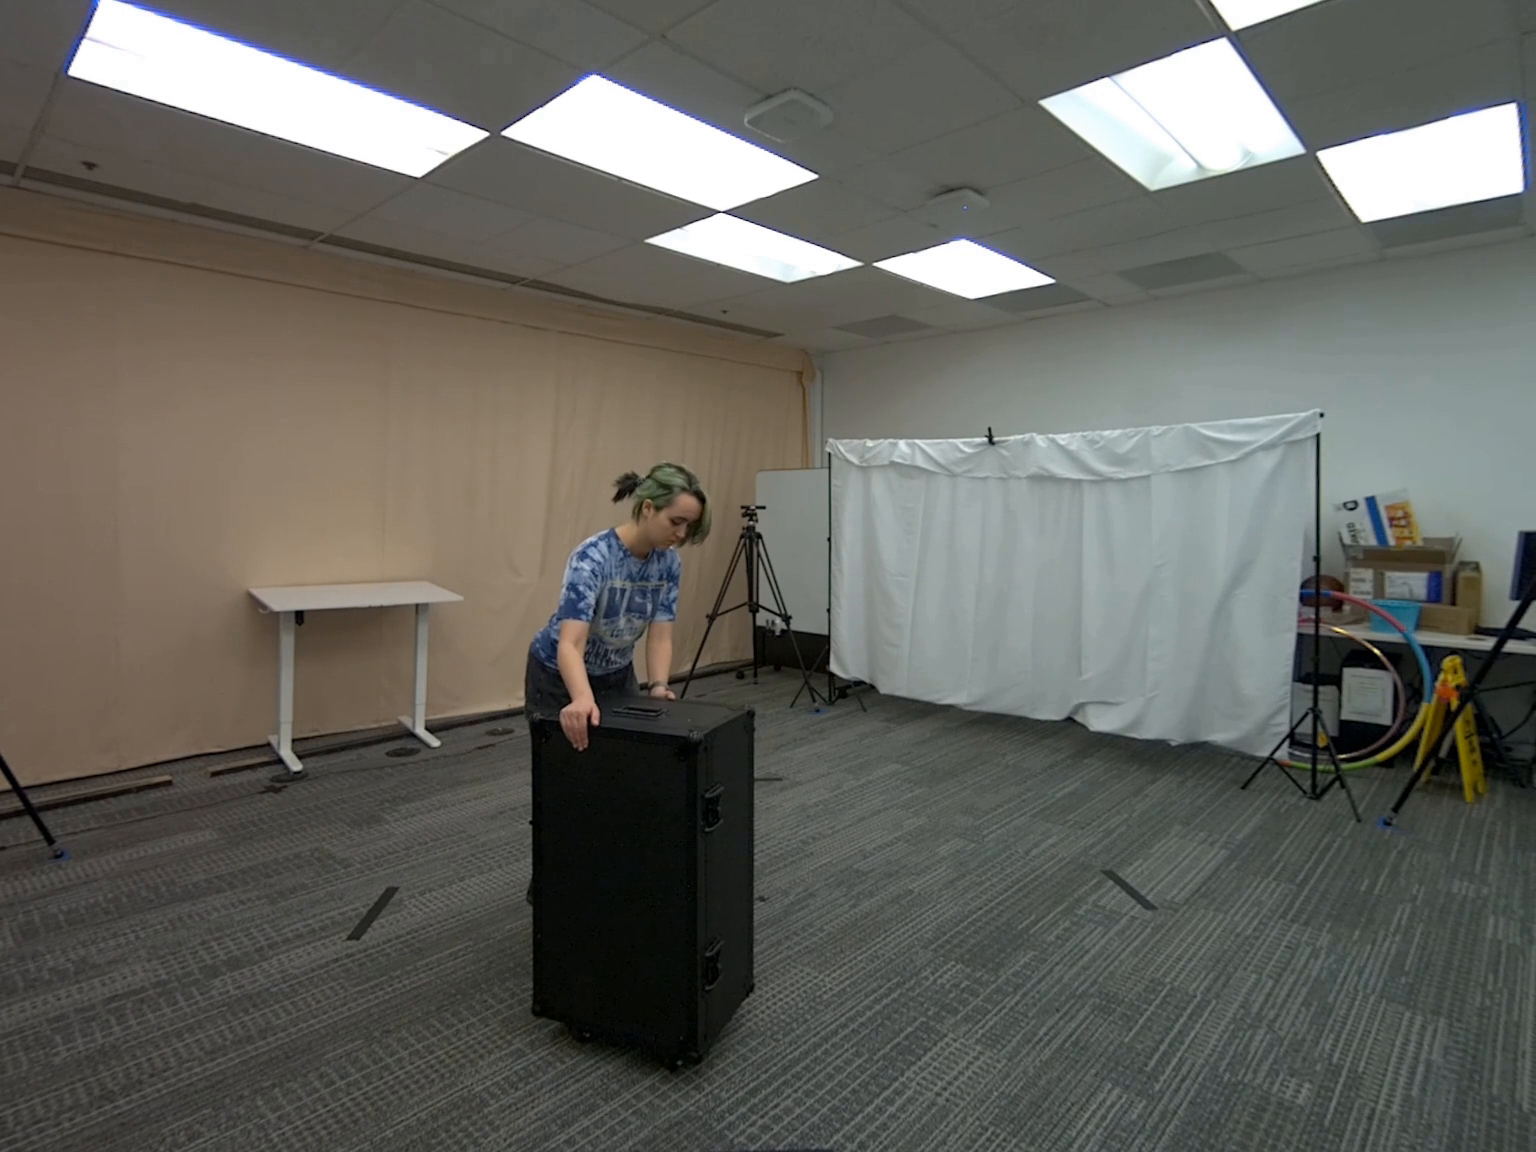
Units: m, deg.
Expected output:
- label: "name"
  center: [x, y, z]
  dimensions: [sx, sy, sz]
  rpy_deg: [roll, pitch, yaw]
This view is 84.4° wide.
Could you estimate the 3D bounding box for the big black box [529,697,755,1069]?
- label: "big black box"
  center: [-0.319, 0.786, 2.244]
  dimensions: [0.534, 0.860, 0.387]
  rpy_deg: [1, 2, 23]
